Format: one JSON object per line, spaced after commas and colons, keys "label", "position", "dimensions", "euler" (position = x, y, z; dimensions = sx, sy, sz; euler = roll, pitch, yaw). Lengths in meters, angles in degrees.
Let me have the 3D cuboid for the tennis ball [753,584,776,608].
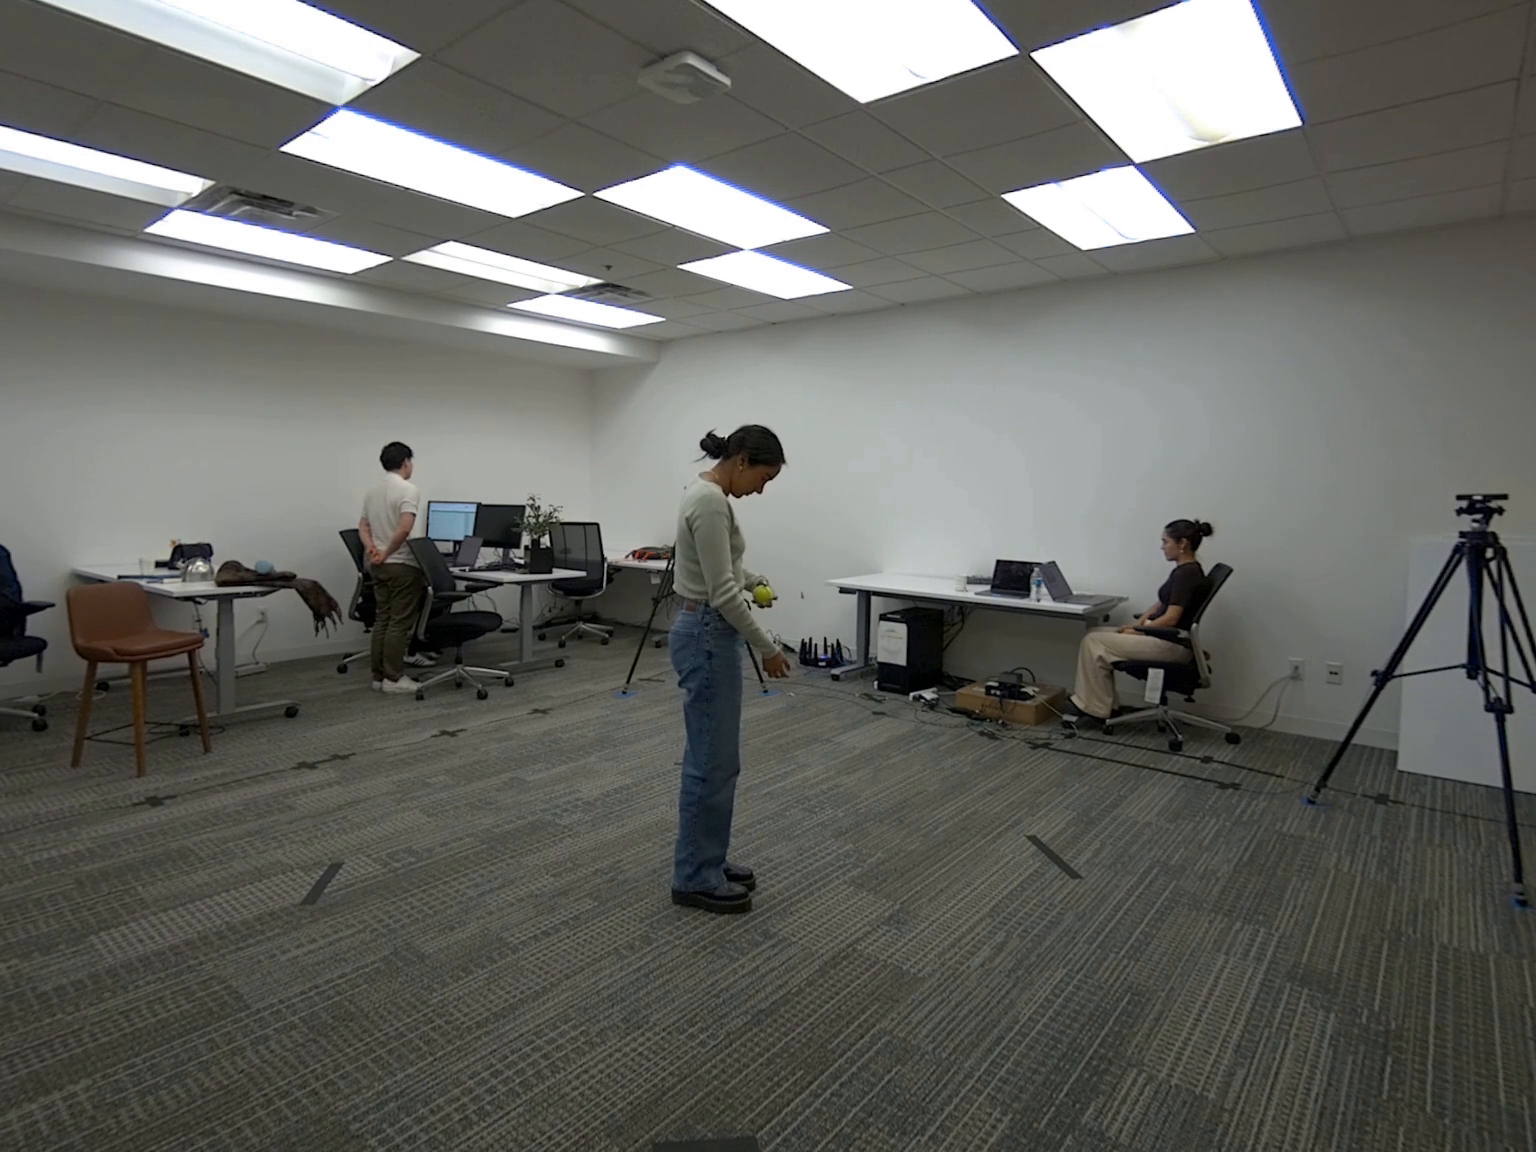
{"label": "tennis ball", "position": [-0.035, 0.054, 2.852], "dimensions": [0.066, 0.066, 0.067], "euler": [1, 4, -2]}
